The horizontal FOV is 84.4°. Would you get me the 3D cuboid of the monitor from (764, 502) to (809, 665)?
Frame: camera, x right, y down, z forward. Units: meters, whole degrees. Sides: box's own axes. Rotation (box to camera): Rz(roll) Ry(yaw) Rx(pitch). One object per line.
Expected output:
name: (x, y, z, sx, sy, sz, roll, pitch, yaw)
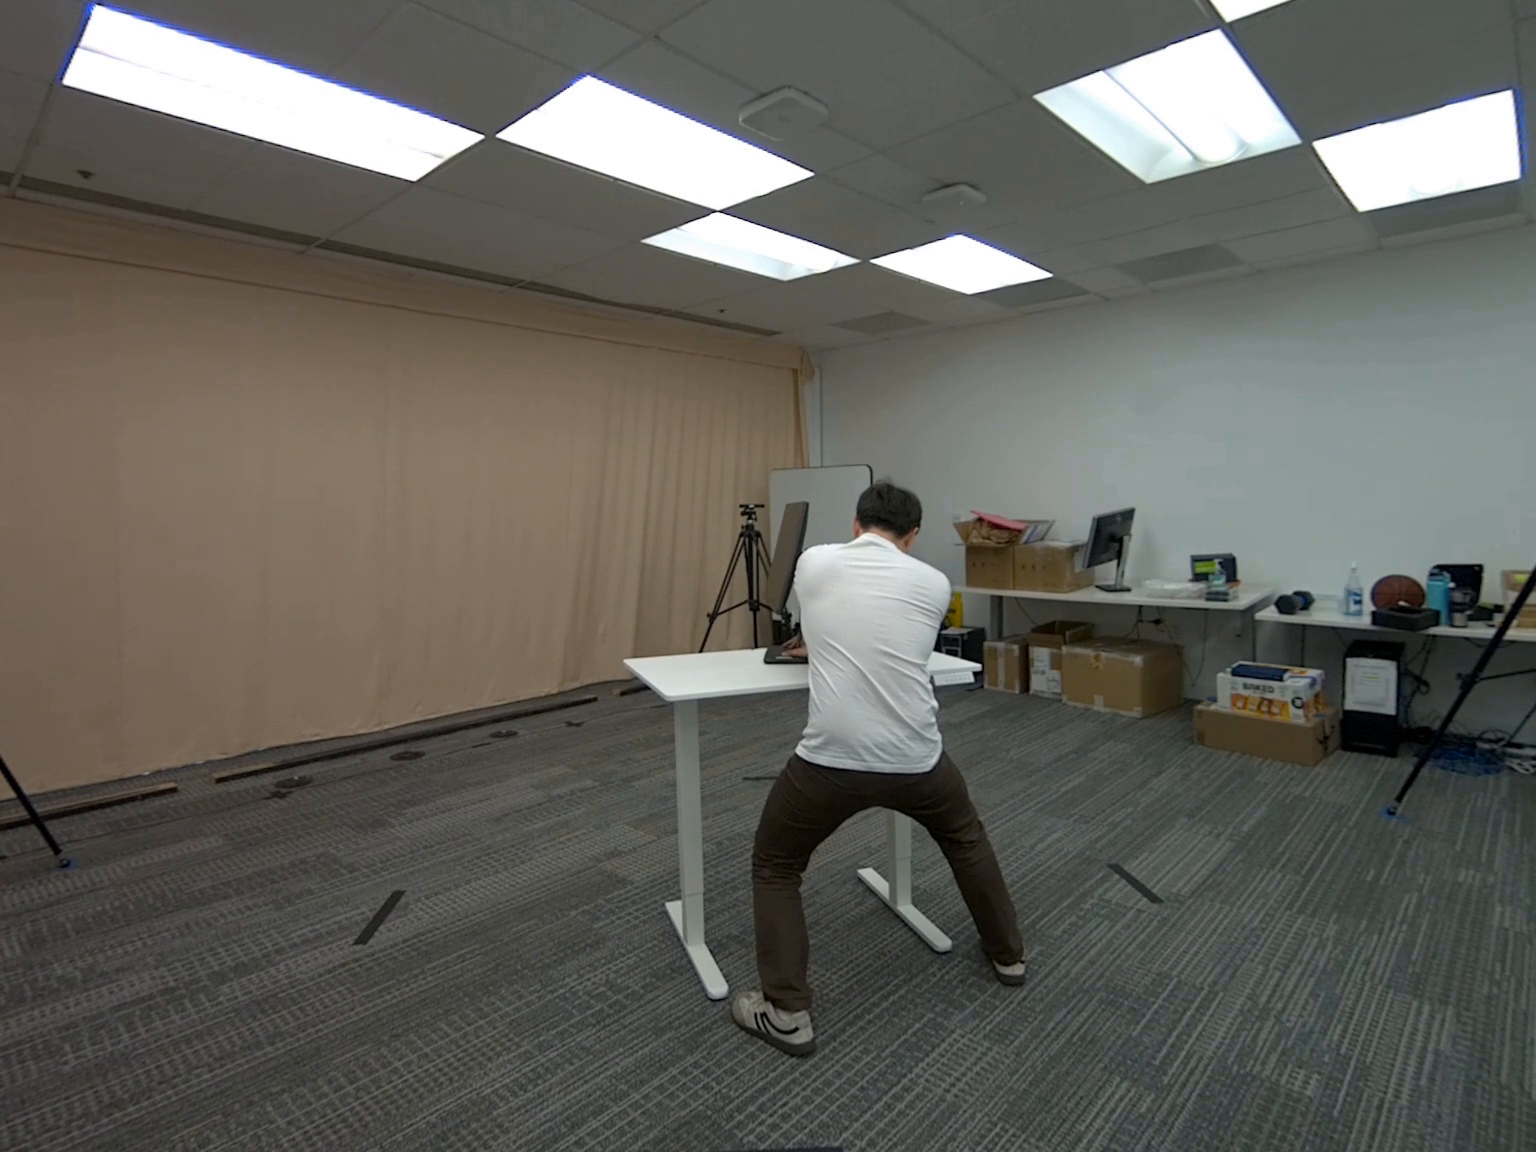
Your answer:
monitor: (0.086, 0.019, 2.809, 0.186, 0.522, 0.541, 1, 3, -4)
